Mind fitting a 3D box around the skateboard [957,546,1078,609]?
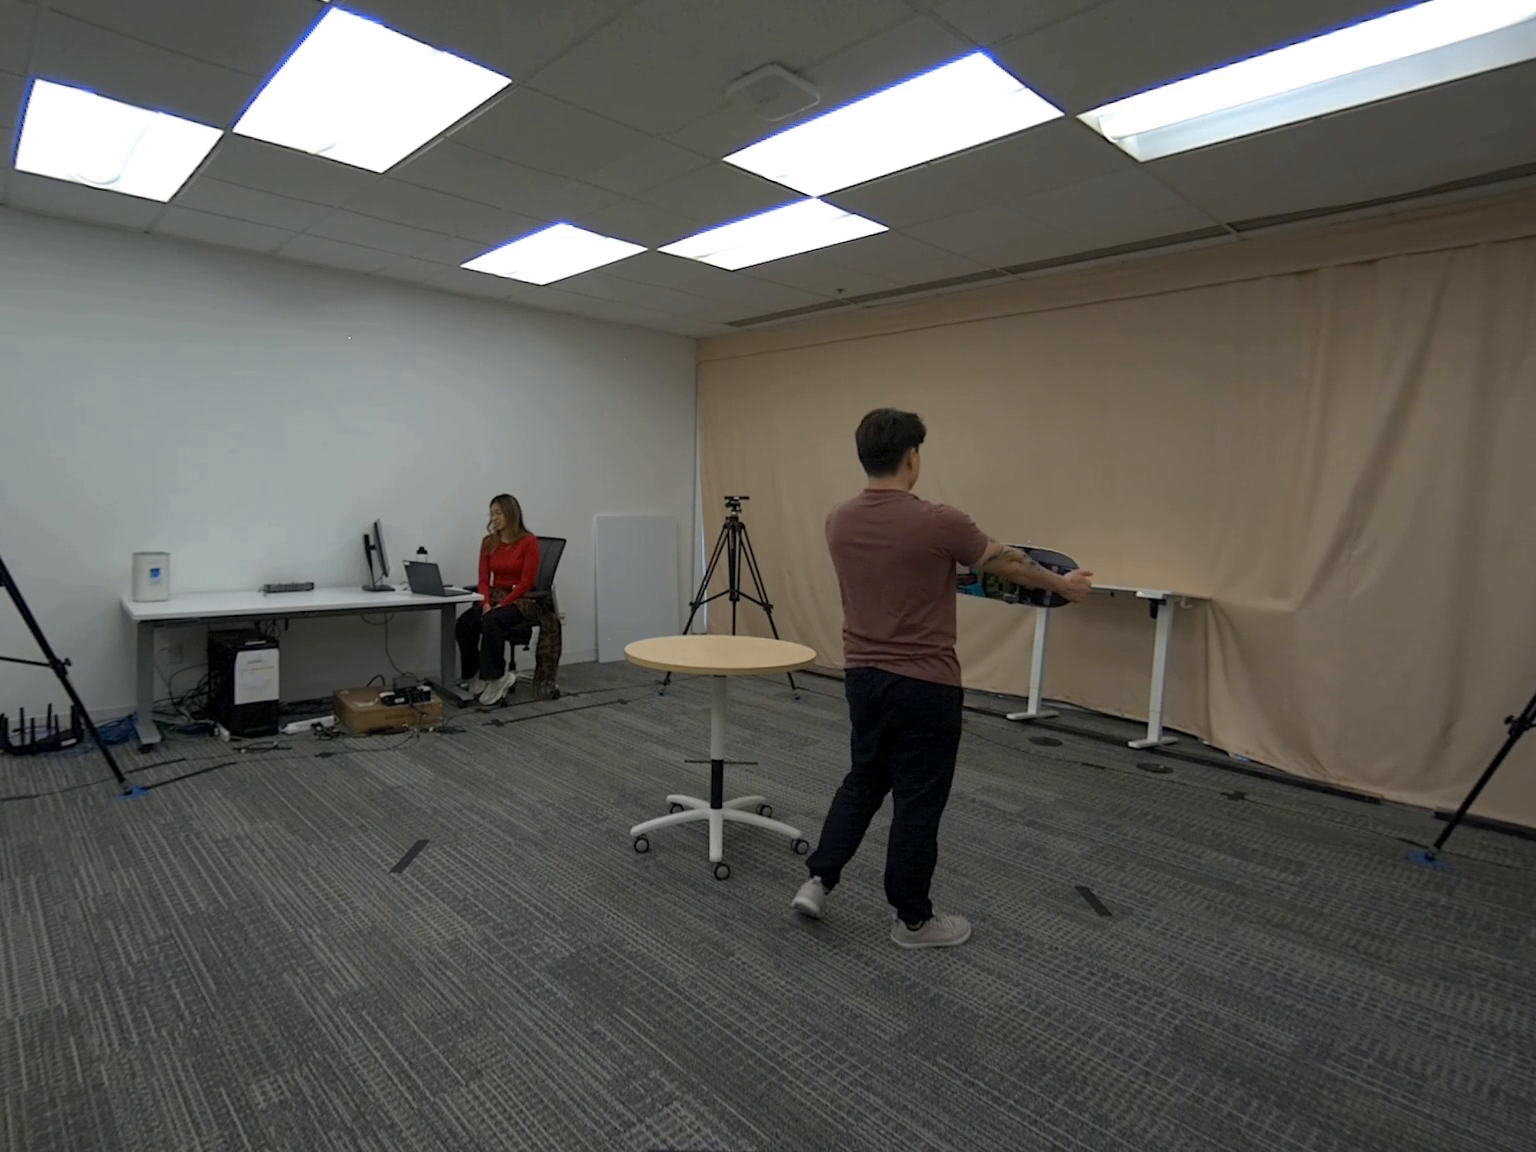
[{"bbox_3d":[0.675,-0.022,2.912,0.807,0.192,0.108,12,10,43],"label":"skateboard"}]
